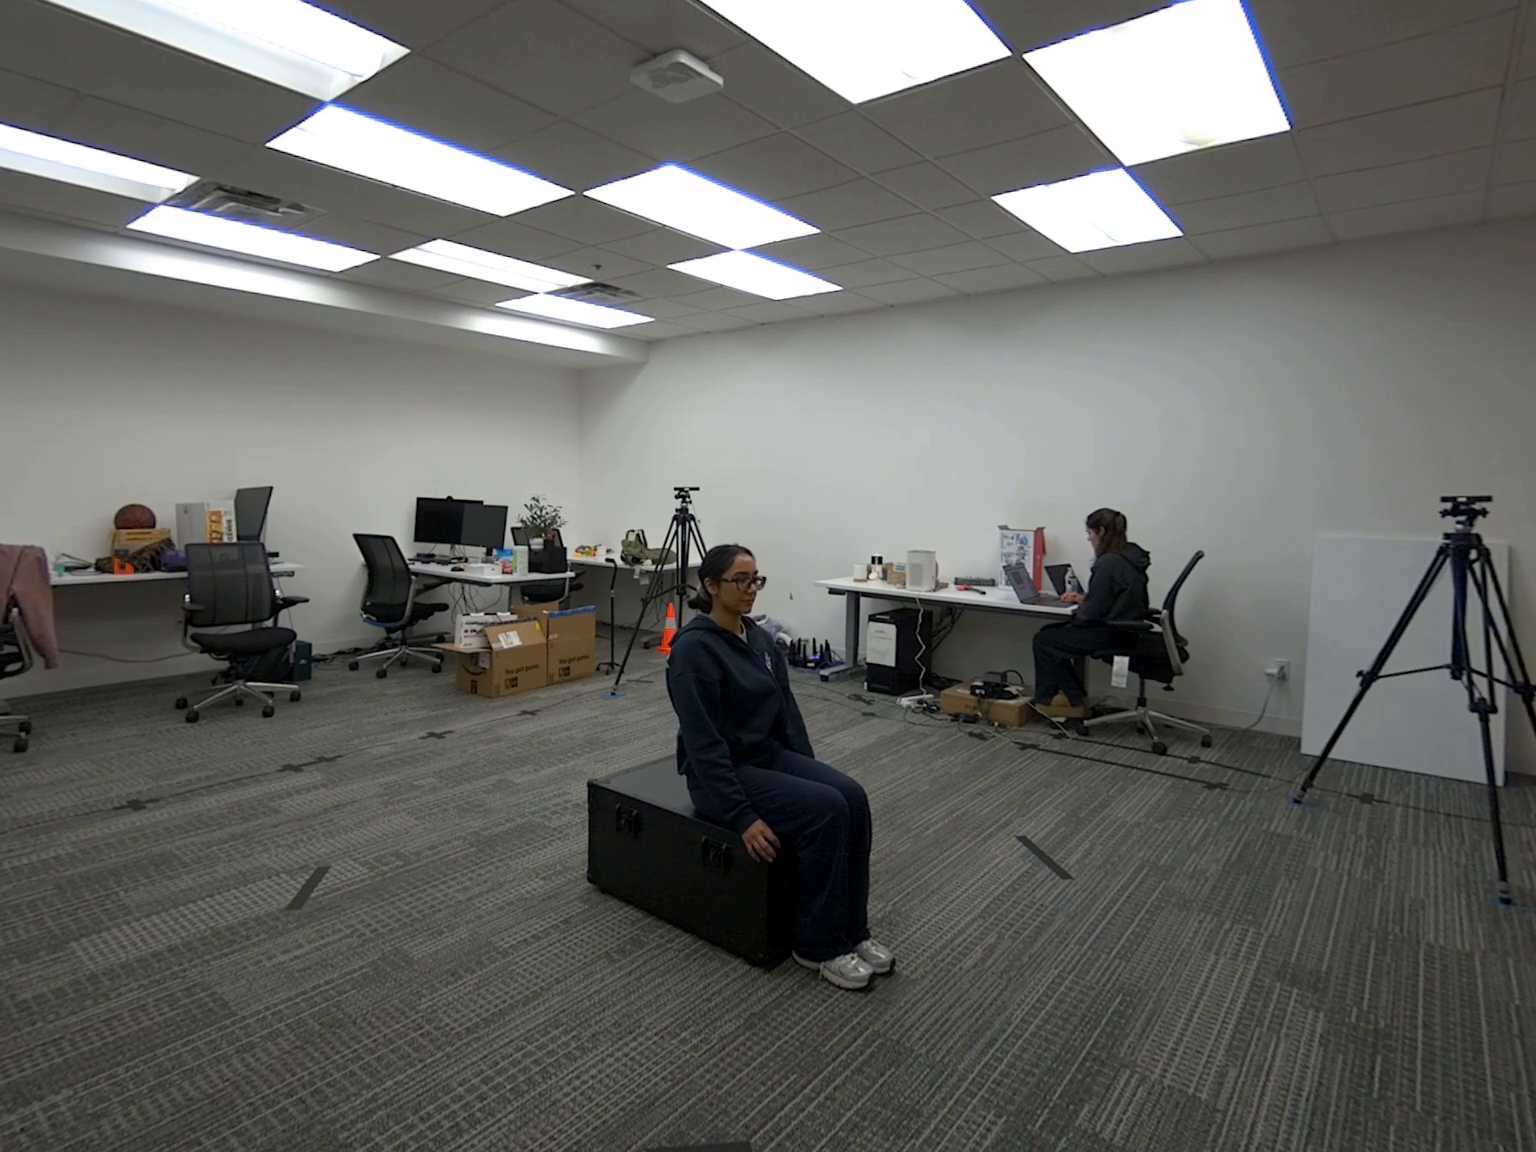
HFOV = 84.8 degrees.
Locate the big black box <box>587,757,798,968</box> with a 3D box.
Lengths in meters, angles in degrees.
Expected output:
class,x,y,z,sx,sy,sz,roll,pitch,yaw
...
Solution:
class,x,y,z,sx,sy,sz,roll,pitch,yaw
big black box,-0.204,0.903,2.882,0.891,0.395,0.506,7,7,39
